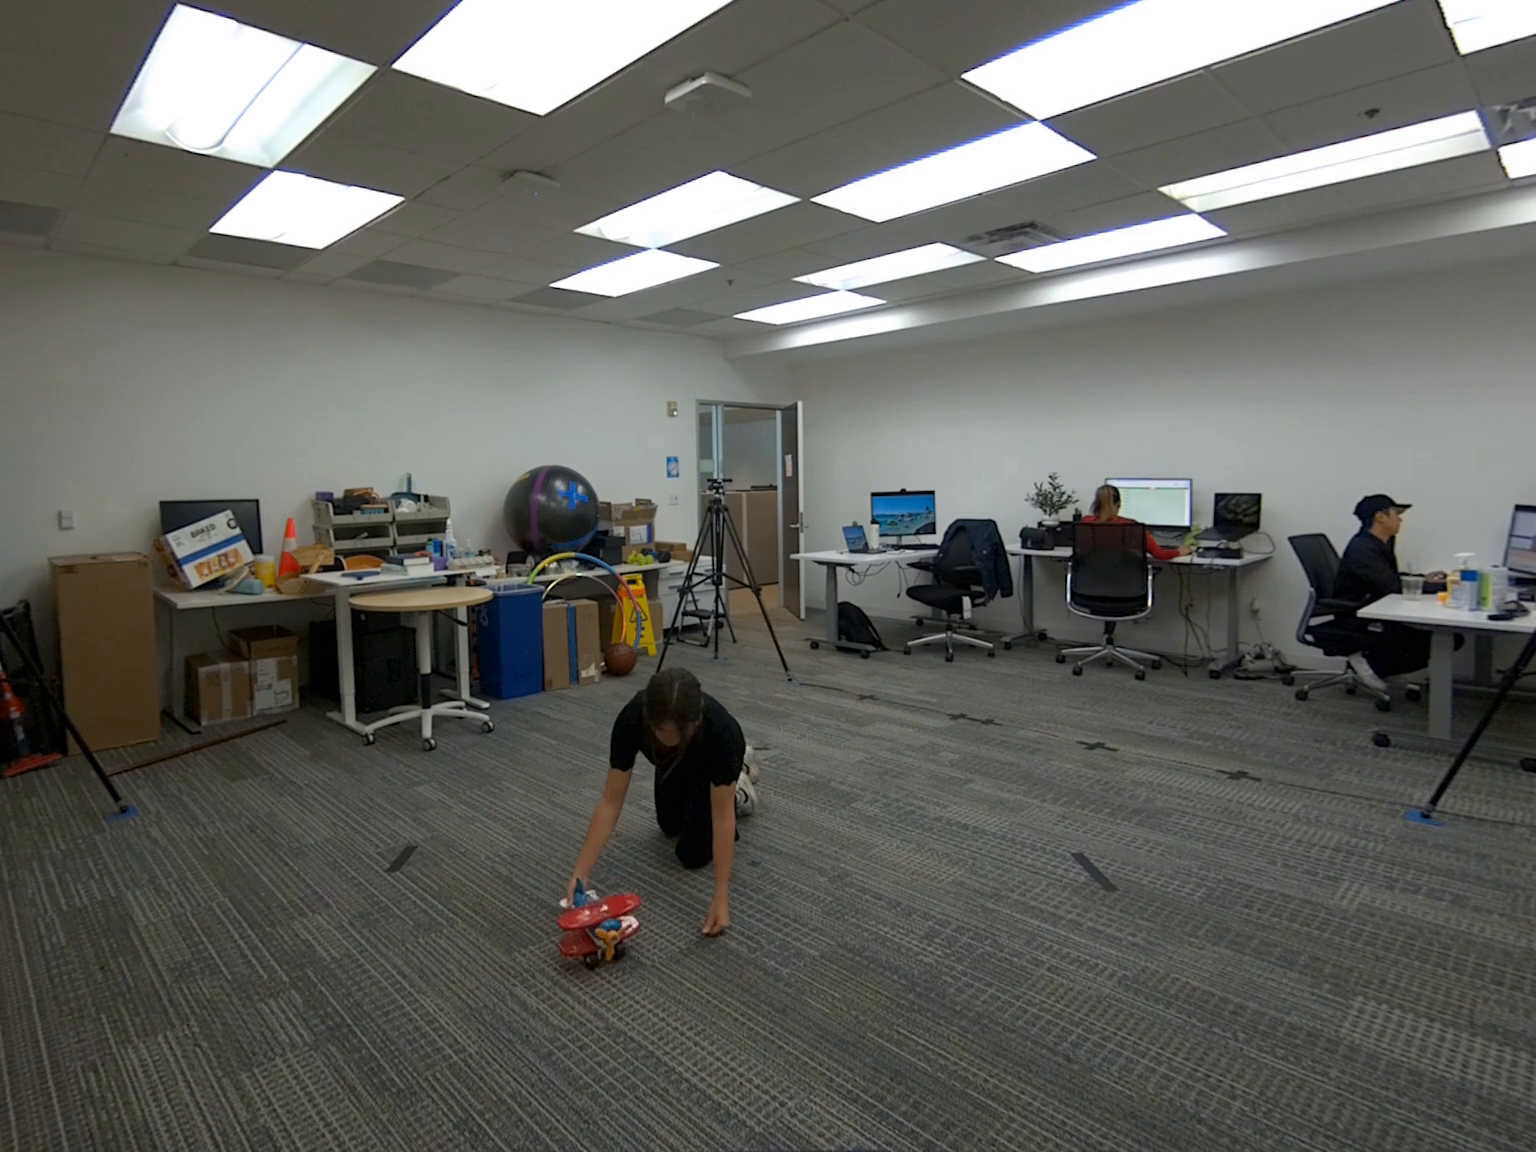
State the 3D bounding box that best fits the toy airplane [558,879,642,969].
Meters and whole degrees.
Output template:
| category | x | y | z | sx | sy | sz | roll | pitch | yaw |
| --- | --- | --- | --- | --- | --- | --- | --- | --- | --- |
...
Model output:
| category | x | y | z | sx | sy | sz | roll | pitch | yaw |
| --- | --- | --- | --- | --- | --- | --- | --- | --- | --- |
| toy airplane | -0.526 | 1.030 | 2.517 | 0.266 | 0.154 | 0.248 | 20 | 24 | 21 |
